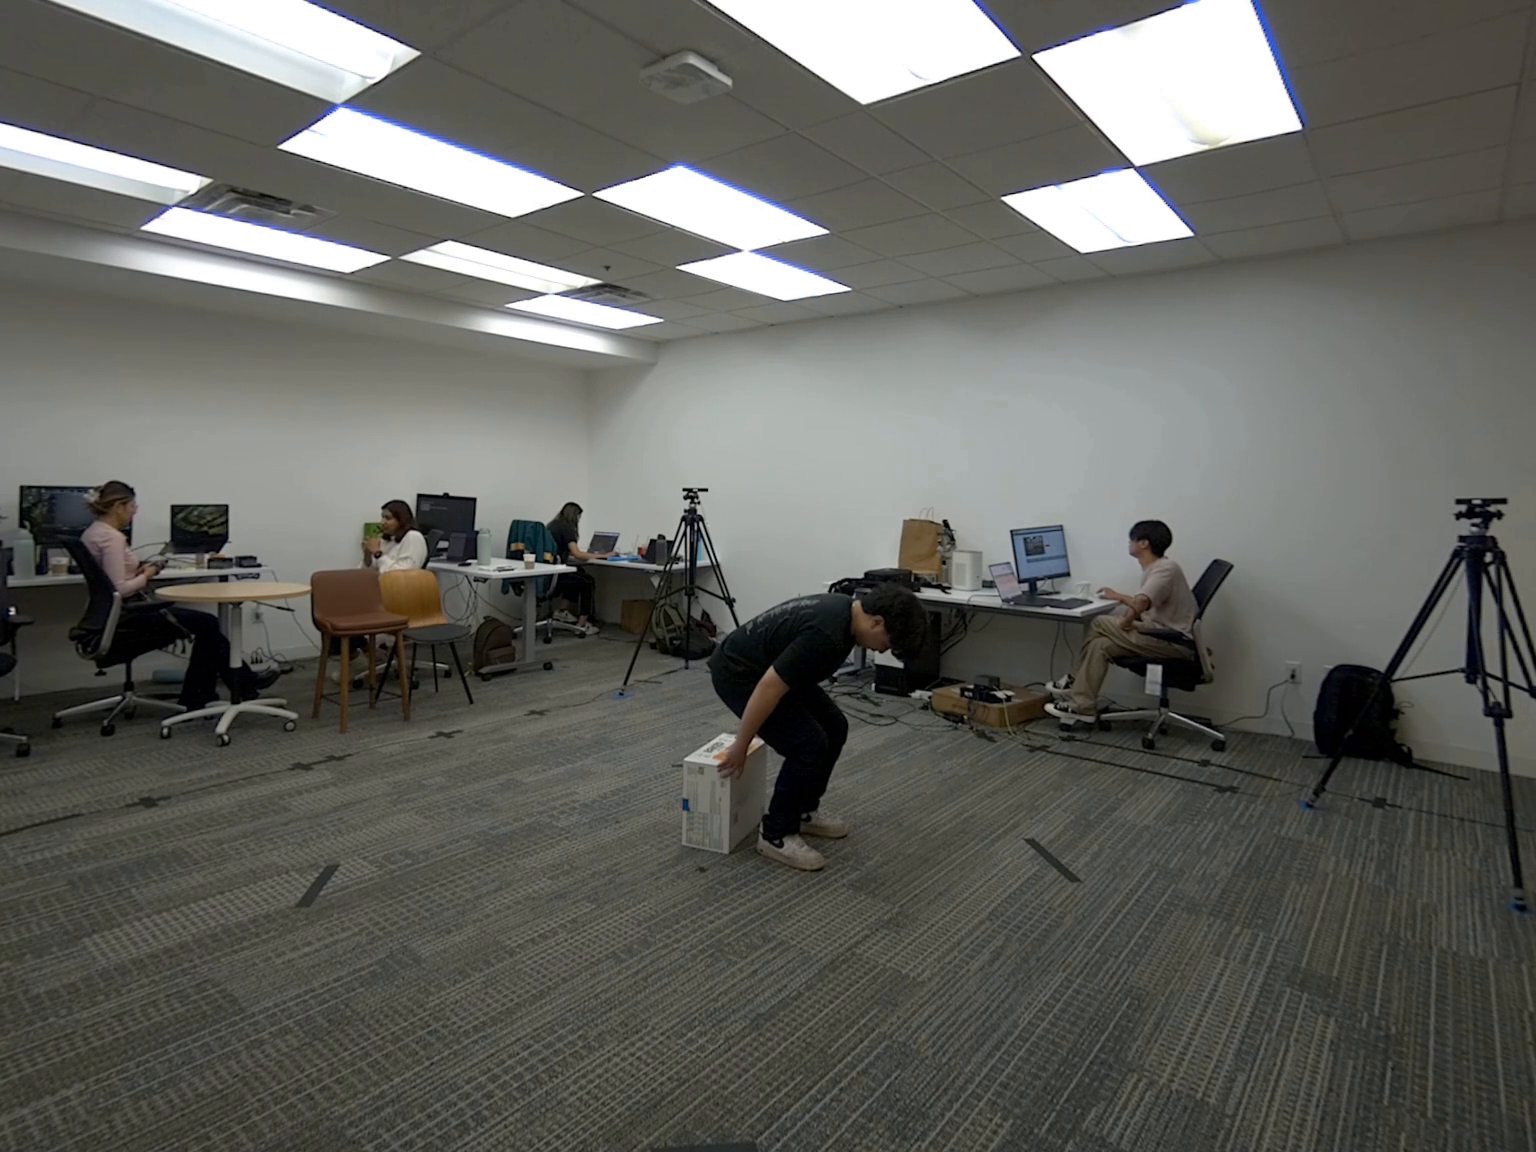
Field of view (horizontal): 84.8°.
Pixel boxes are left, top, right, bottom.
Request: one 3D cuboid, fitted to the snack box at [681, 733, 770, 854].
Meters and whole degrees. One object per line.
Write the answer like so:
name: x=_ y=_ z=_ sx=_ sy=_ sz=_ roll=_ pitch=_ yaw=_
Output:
snack box: x=-0.178 y=0.866 z=3.448 sx=0.210 sy=0.339 sz=0.397 roll=3 pitch=5 yaw=21
